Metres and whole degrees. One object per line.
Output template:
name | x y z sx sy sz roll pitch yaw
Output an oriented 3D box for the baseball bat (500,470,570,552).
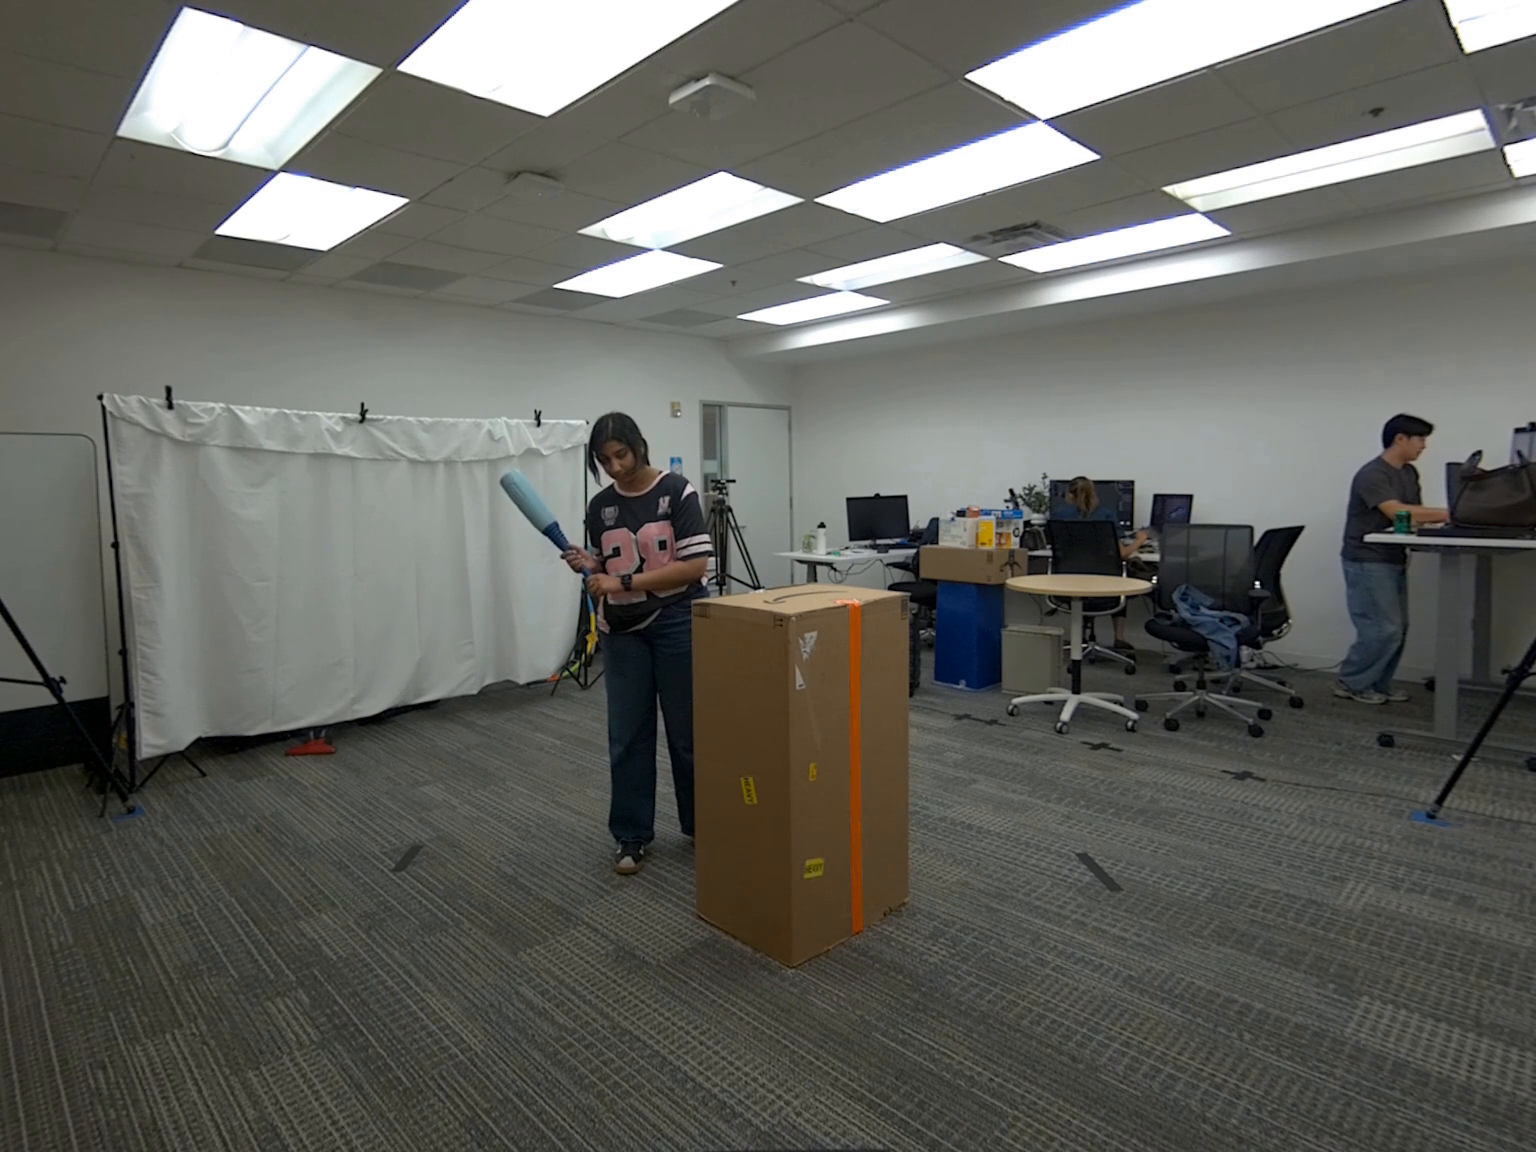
baseball bat | -0.760 -0.140 3.022 0.089 0.549 0.088 -39 -8 -7
